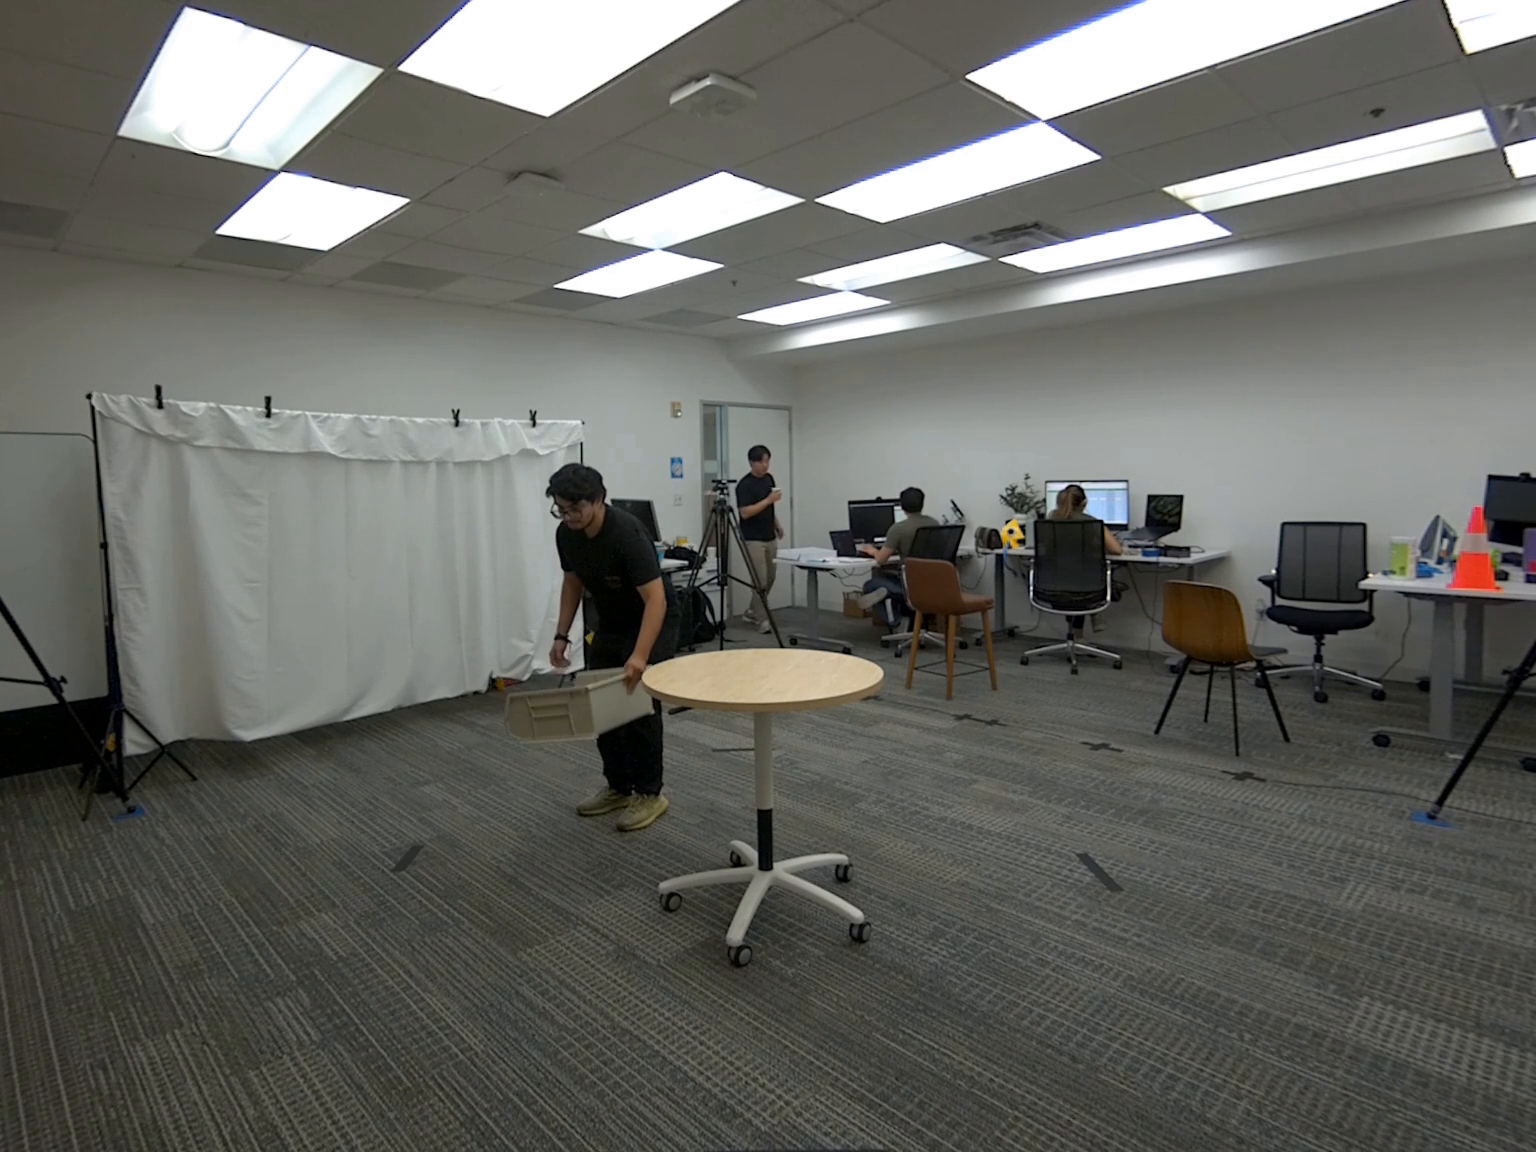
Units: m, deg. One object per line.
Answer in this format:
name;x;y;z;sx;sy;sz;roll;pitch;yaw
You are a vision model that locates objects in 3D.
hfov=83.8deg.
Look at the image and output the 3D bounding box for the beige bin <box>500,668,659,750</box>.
beige bin;-0.669;0.472;3.097;0.384;0.189;0.414;-8;0;24
